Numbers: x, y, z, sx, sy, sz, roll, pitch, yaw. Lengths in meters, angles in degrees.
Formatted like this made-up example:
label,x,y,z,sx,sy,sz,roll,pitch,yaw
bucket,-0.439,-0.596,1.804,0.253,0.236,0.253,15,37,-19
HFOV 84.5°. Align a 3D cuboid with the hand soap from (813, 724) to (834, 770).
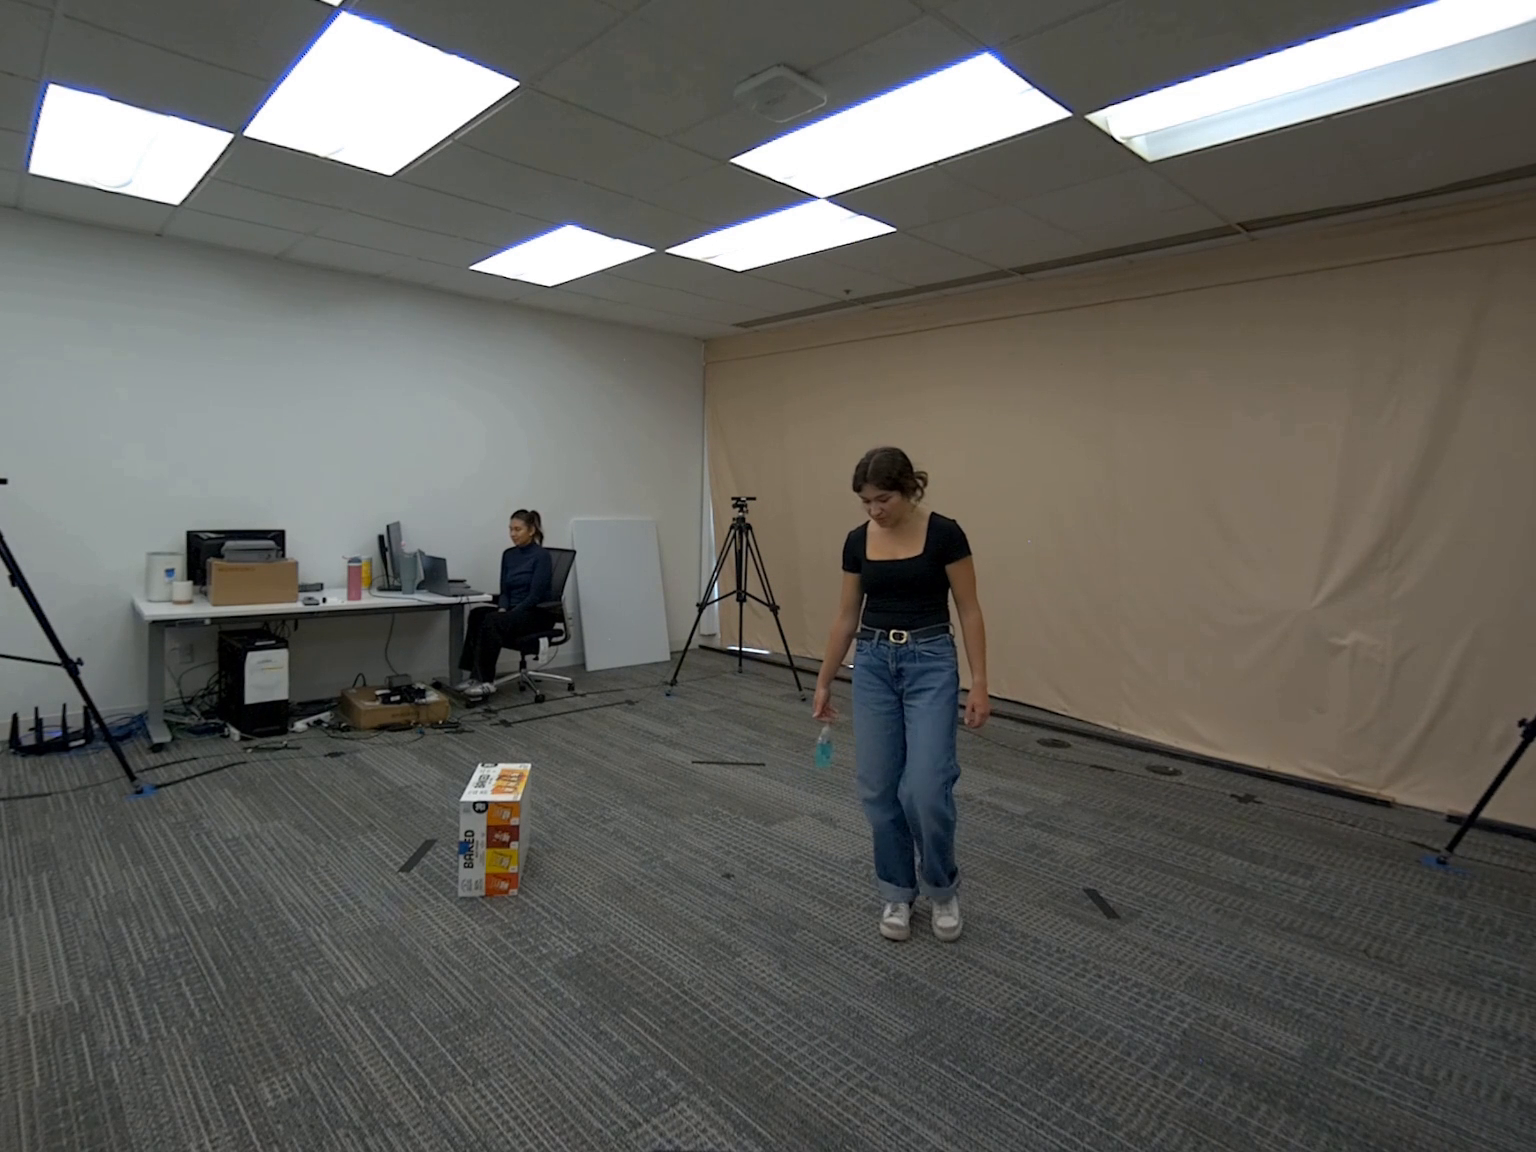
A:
label,x,y,z,sx,sy,sz,roll,pitch,yaw
hand soap,0.191,0.559,2.828,0.082,0.168,0.044,5,2,-42
